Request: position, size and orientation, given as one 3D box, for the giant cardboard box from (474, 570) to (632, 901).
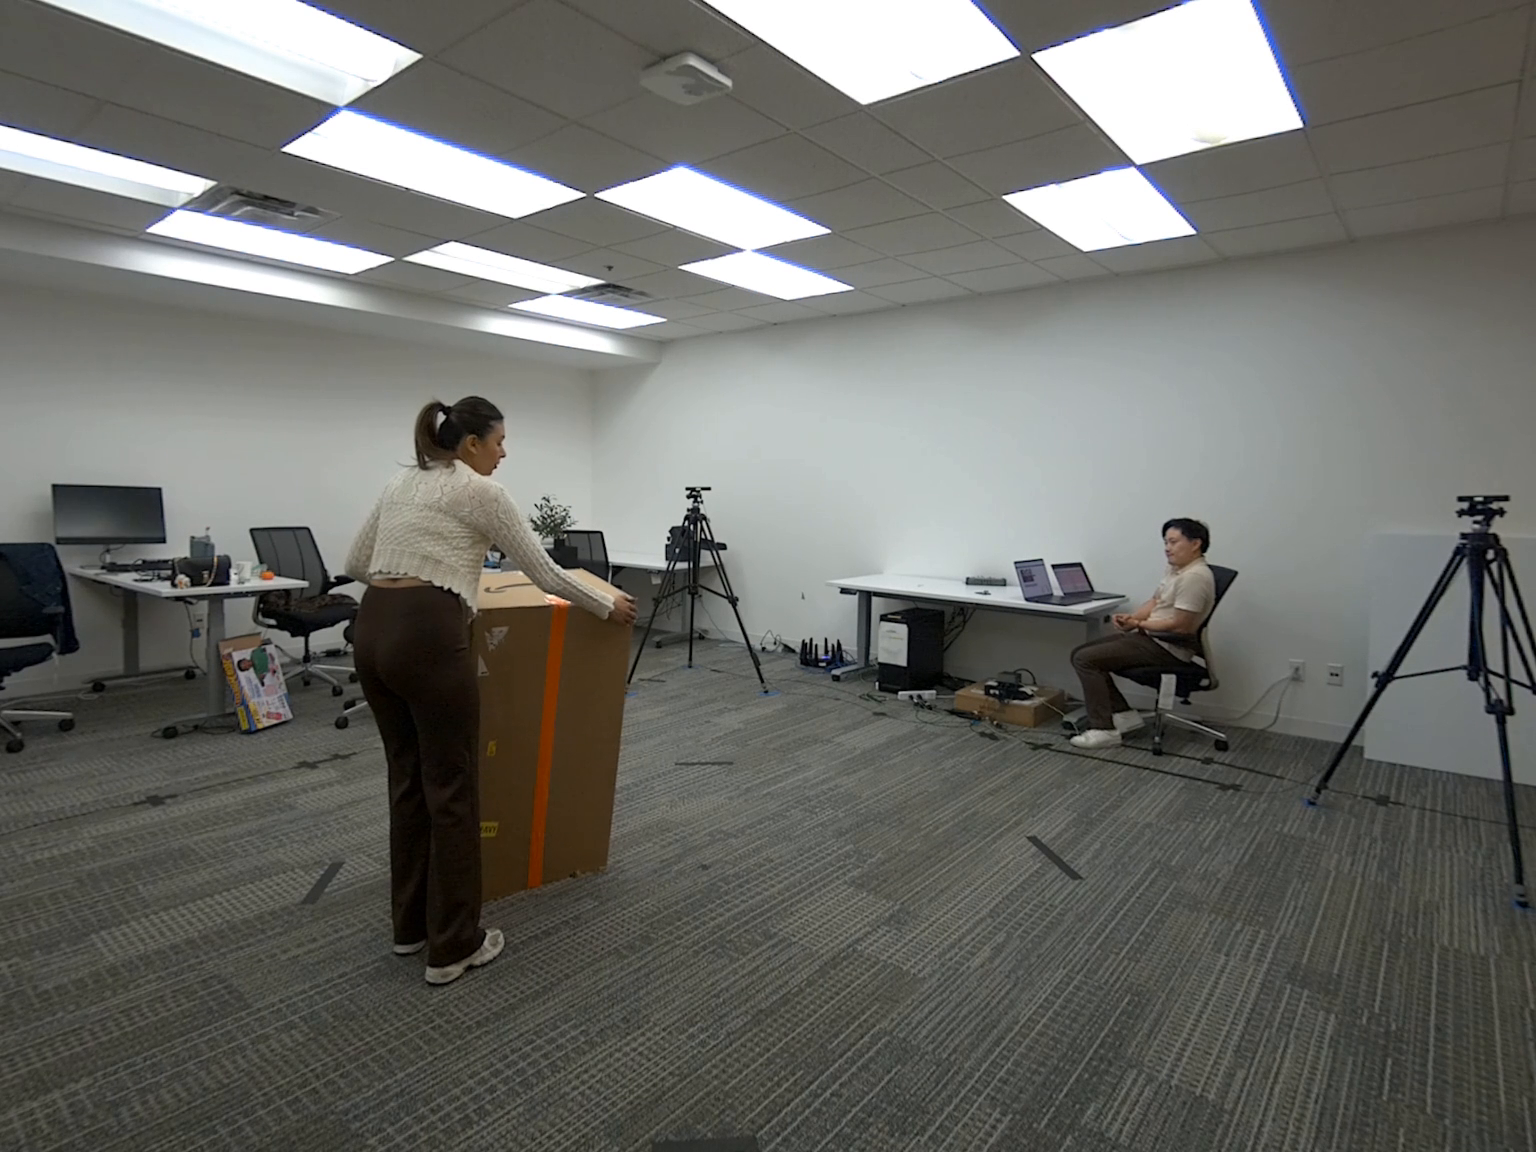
[{"bbox_3d":[-0.880,0.536,3.016,0.560,1.017,0.443,-1,13,-38],"label":"giant cardboard box"}]
